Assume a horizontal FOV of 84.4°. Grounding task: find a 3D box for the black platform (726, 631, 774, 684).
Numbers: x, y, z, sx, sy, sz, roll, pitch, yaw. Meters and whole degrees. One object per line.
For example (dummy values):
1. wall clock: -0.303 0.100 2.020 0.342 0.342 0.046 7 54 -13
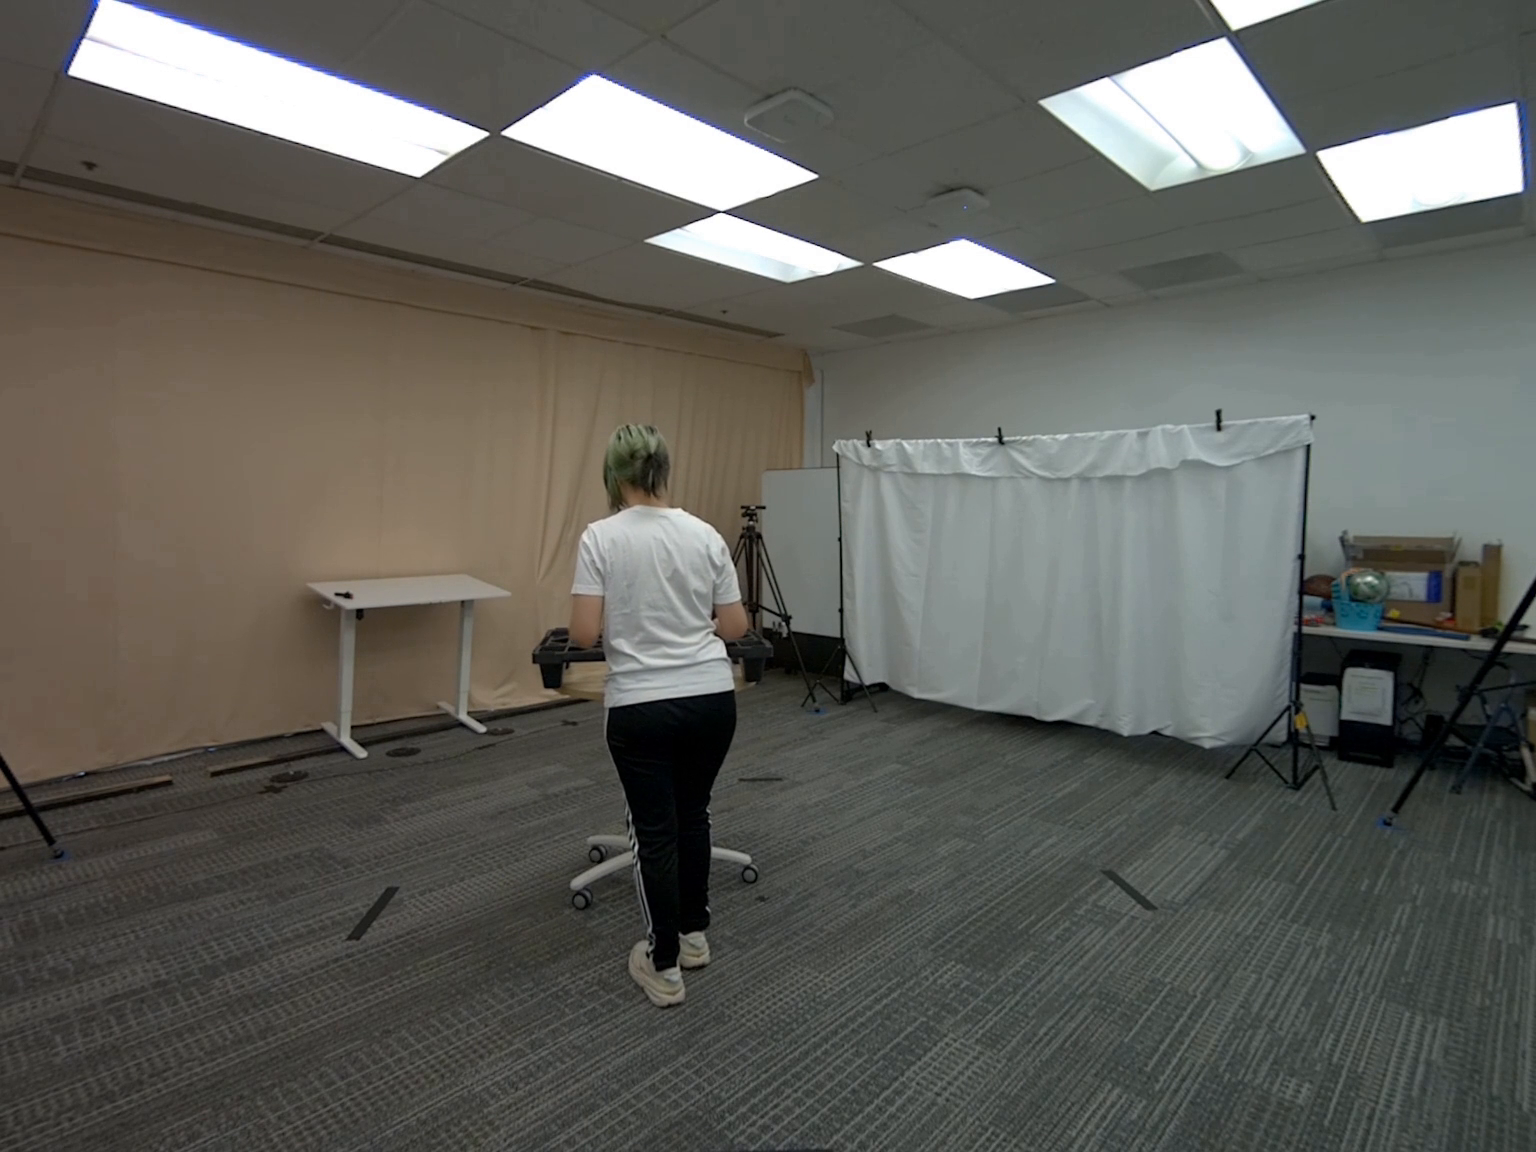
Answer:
1. black platform: -0.417 0.293 3.068 0.800 0.143 0.611 -1 4 -7
